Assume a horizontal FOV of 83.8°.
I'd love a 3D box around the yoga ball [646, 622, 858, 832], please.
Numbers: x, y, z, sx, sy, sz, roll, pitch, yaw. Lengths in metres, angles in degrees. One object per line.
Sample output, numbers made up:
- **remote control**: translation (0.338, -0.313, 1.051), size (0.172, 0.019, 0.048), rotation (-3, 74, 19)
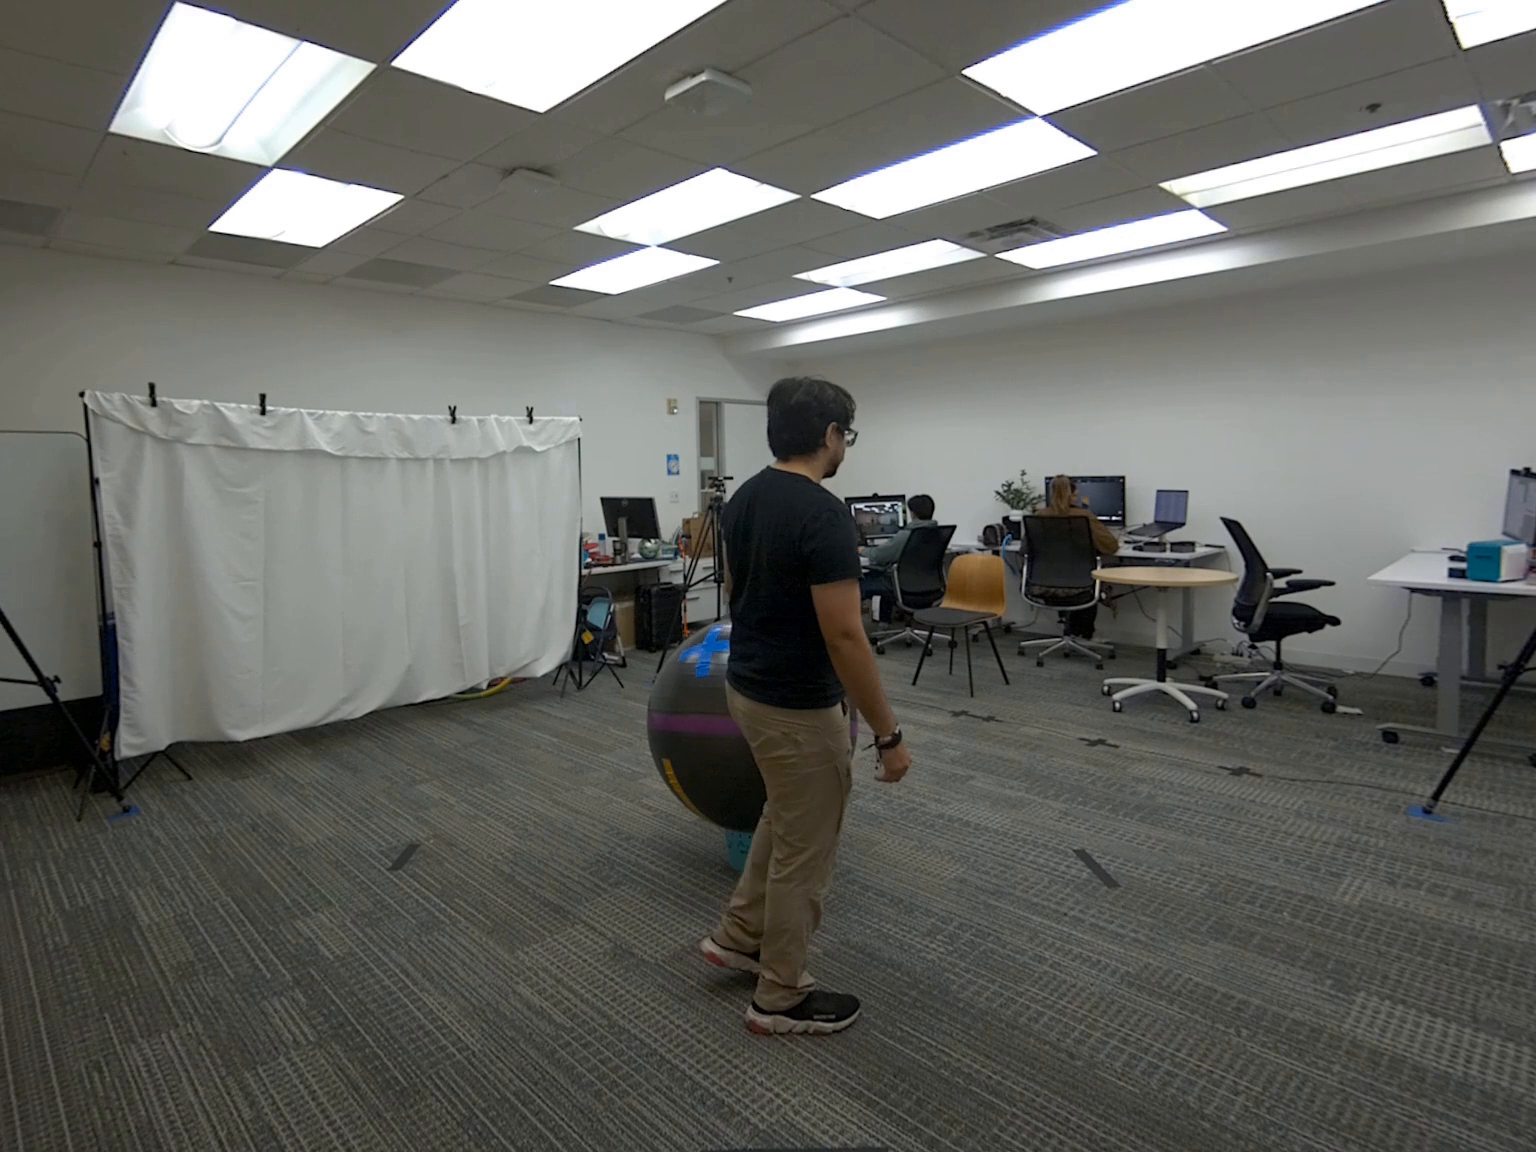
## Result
- **yoga ball**: translation (-0.059, 0.528, 3.098), size (0.757, 0.755, 0.762), rotation (-1, 5, -2)
